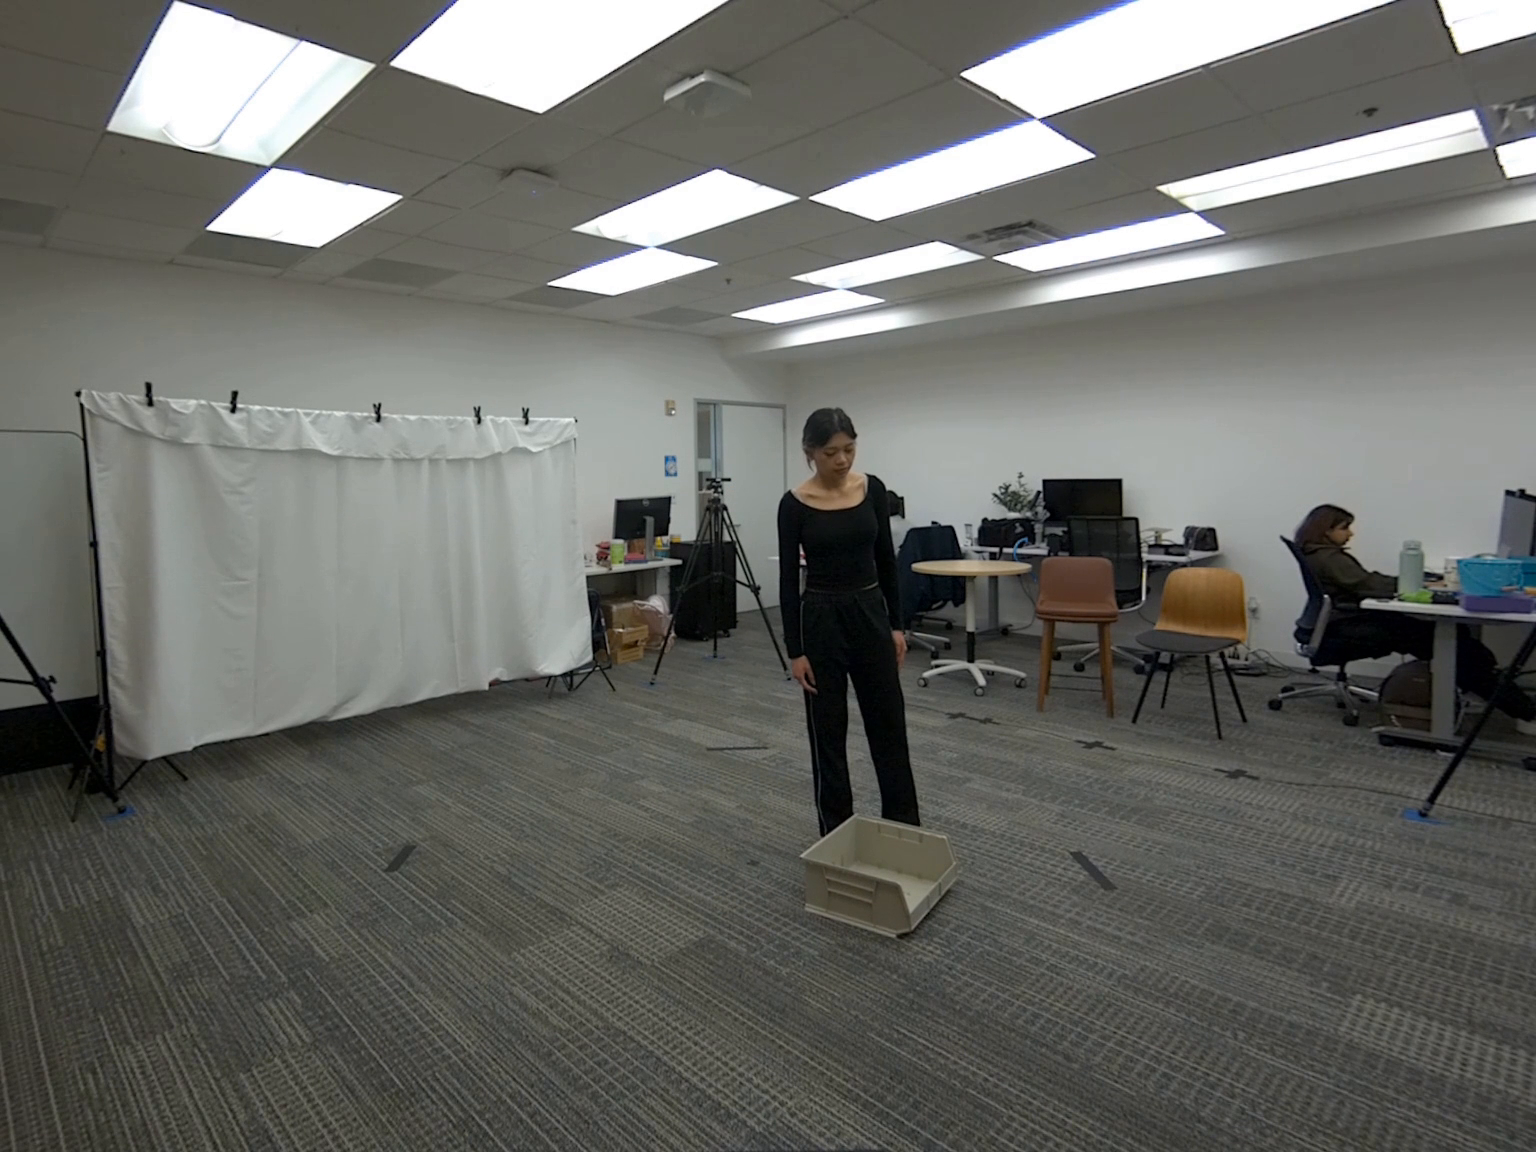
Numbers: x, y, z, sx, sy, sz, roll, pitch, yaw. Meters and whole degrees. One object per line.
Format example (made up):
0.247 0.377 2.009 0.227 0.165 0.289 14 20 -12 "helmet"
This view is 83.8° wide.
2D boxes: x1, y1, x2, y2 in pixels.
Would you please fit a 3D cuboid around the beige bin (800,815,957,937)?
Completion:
0.374 0.981 2.817 0.388 0.188 0.412 1 6 33 "beige bin"
